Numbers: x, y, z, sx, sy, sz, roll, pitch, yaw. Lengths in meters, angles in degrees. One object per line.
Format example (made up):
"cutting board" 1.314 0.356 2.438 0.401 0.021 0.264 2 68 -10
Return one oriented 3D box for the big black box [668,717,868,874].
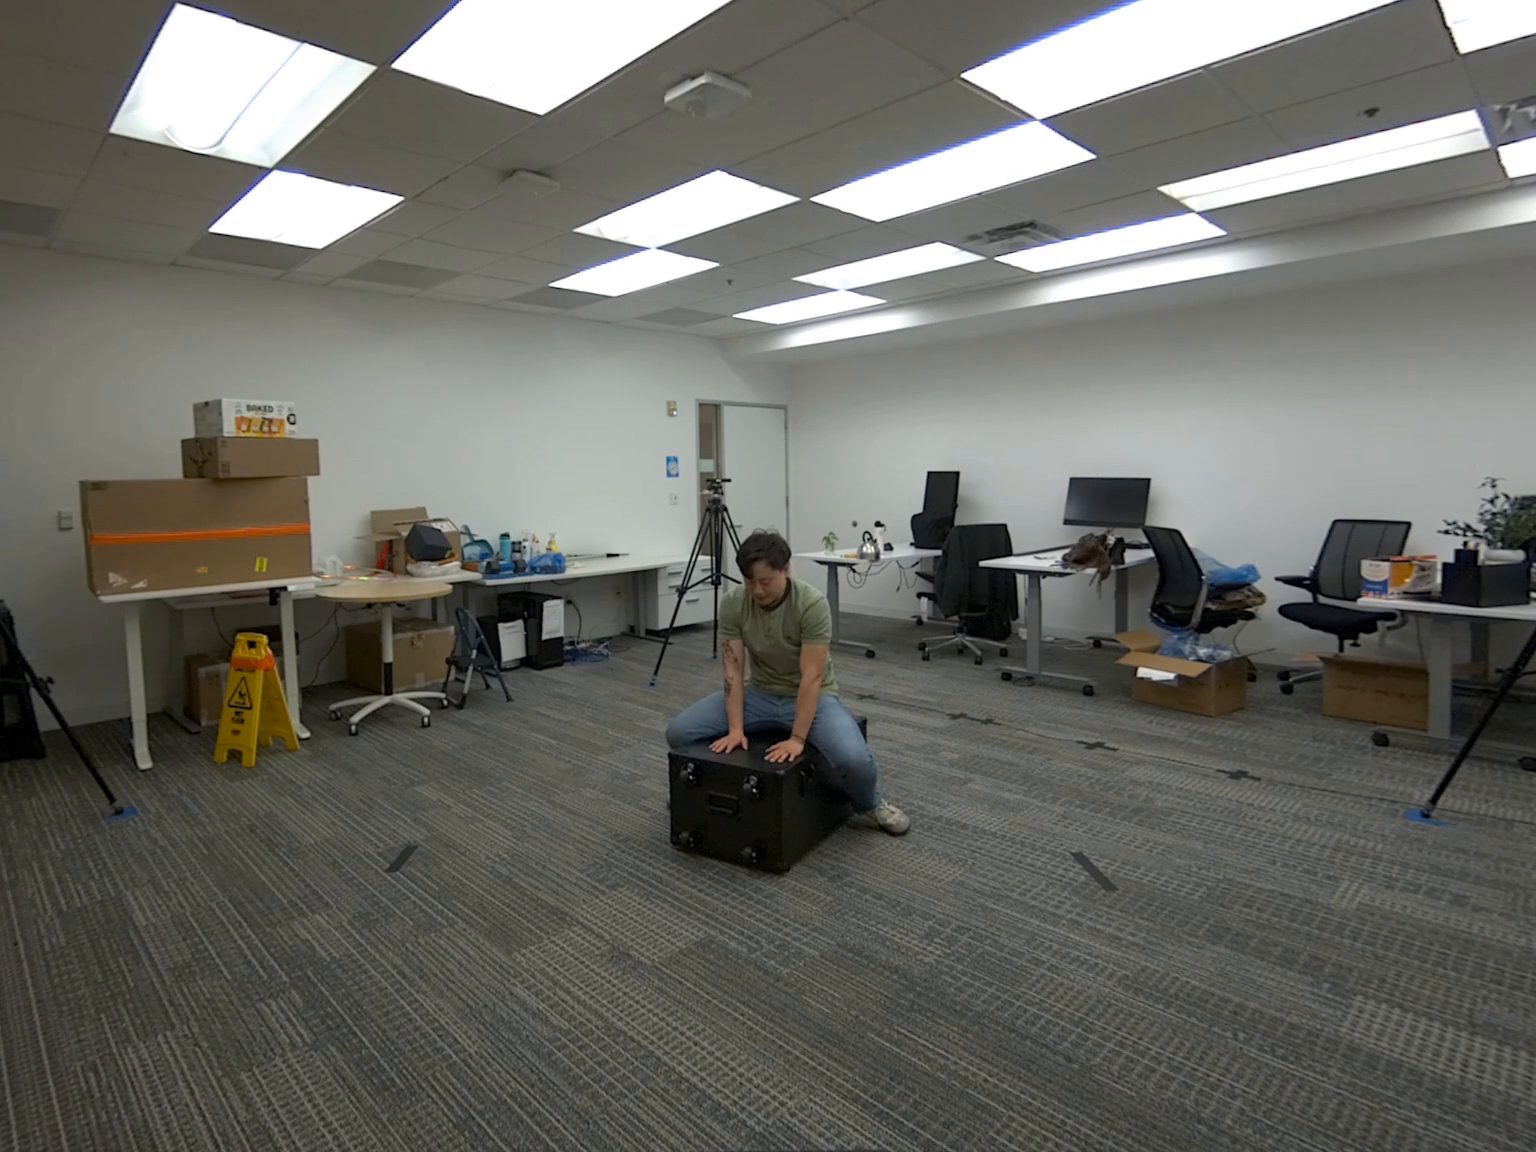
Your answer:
"big black box" 0.009 0.824 3.396 0.535 0.395 0.843 2 6 28
